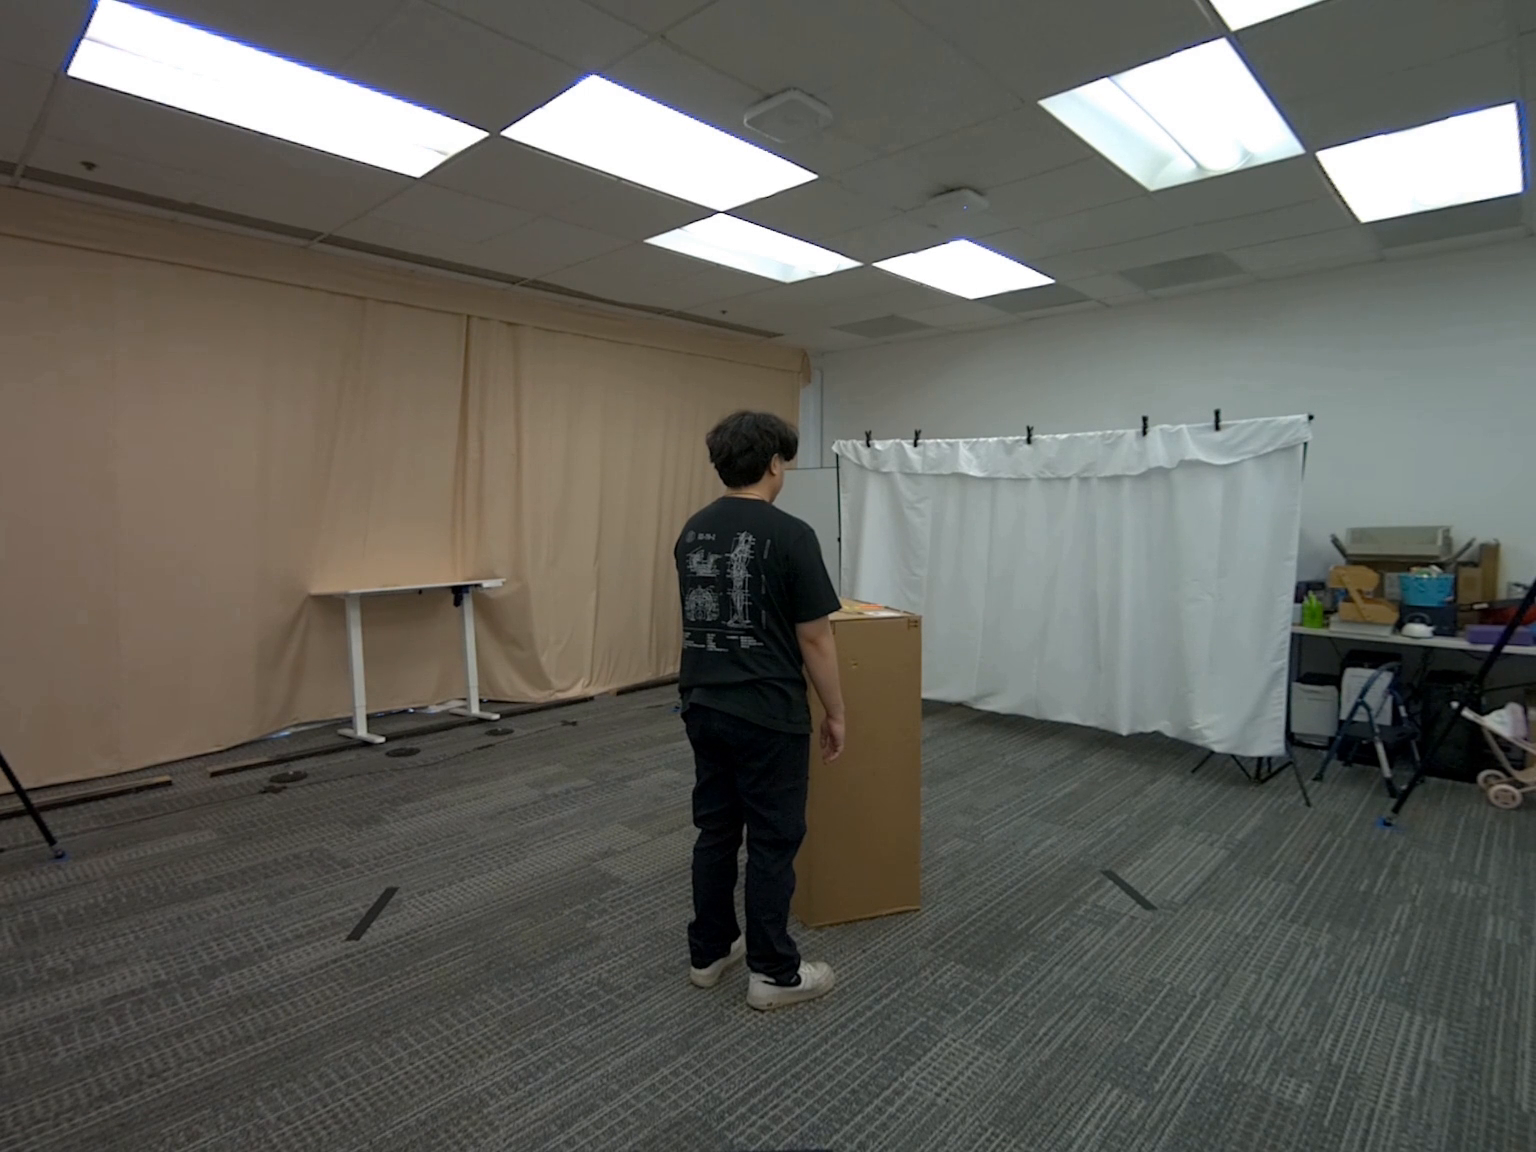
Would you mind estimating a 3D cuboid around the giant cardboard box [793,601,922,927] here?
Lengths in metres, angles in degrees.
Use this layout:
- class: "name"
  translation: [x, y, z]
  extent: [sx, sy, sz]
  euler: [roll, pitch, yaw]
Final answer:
- class: "giant cardboard box"
  translation: [0.229, 0.623, 3.079]
  extent: [0.438, 1.025, 0.597]
  euler: [-1, 3, -21]
